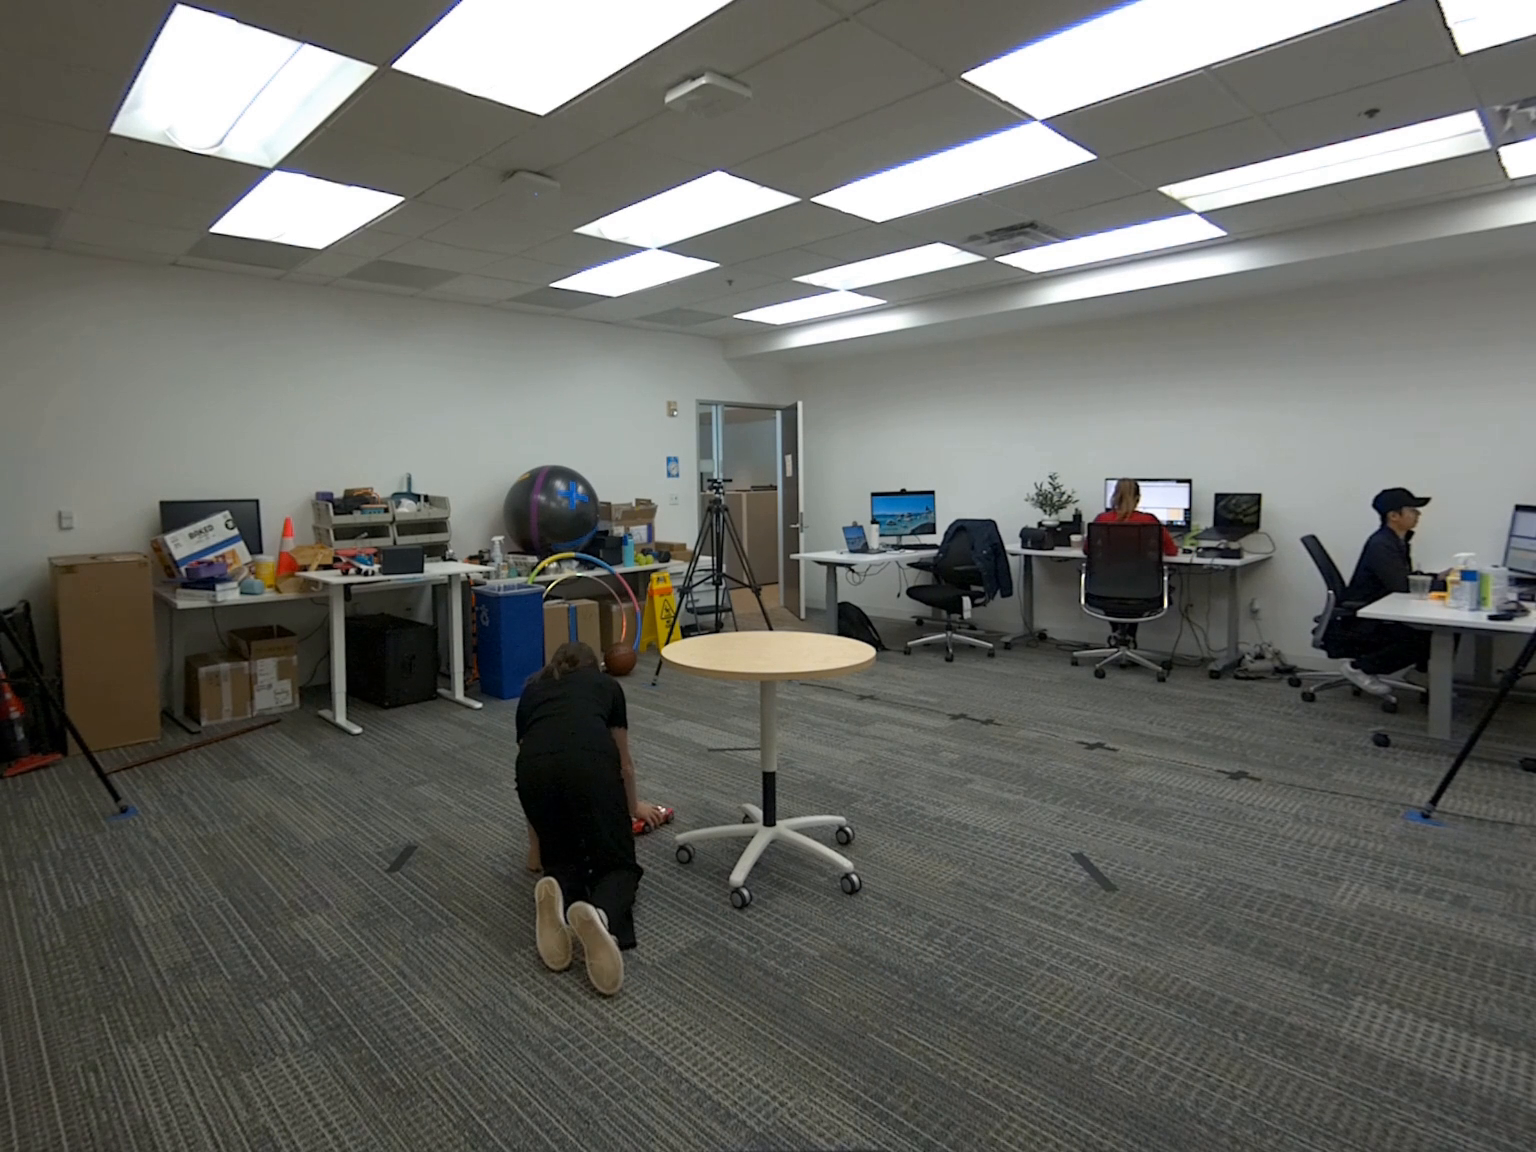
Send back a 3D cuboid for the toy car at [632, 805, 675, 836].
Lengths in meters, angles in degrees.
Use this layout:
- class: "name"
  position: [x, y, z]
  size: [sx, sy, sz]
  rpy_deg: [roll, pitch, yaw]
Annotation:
- class: "toy car"
  position: [-0.503, 0.987, 3.447]
  size: [0.134, 0.083, 0.246]
  rpy_deg: [3, -3, 37]
